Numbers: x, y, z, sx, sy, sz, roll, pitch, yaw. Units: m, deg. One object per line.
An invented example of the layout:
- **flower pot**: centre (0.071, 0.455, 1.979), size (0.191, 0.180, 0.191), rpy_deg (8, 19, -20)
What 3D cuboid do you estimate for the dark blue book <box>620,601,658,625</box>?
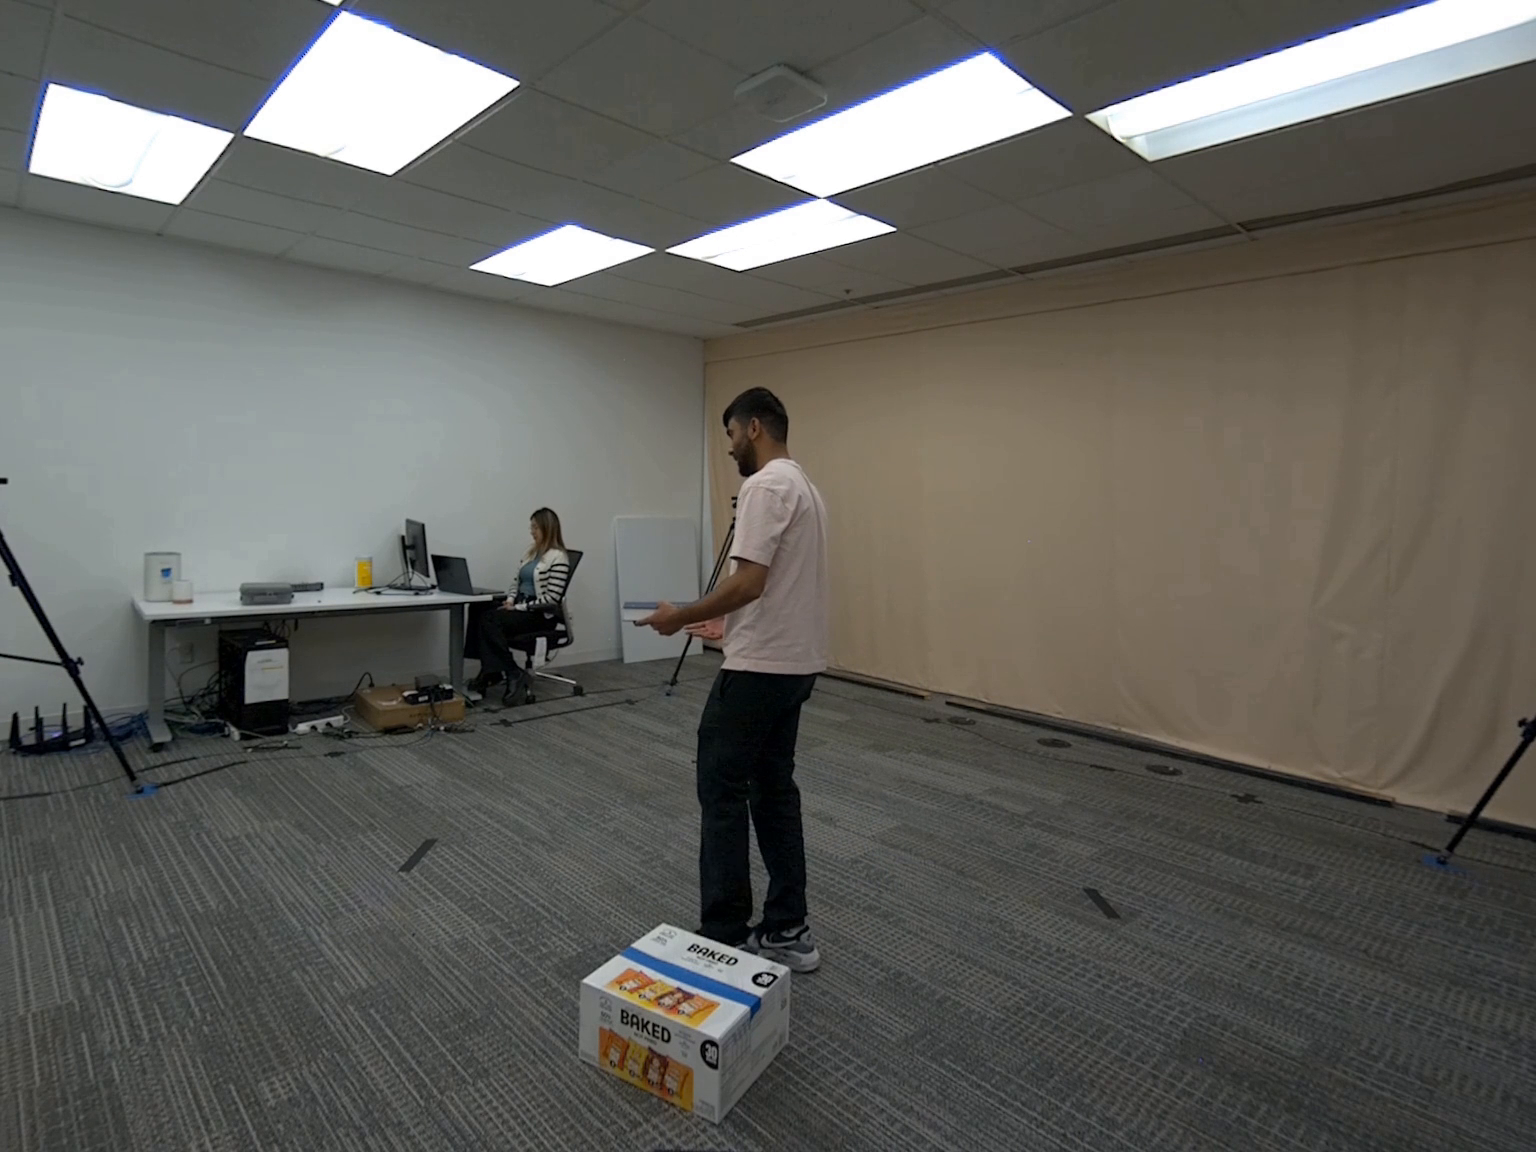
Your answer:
- **dark blue book**: centre (-0.344, 0.109, 2.614), size (0.244, 0.045, 0.164), rpy_deg (1, 6, -5)
